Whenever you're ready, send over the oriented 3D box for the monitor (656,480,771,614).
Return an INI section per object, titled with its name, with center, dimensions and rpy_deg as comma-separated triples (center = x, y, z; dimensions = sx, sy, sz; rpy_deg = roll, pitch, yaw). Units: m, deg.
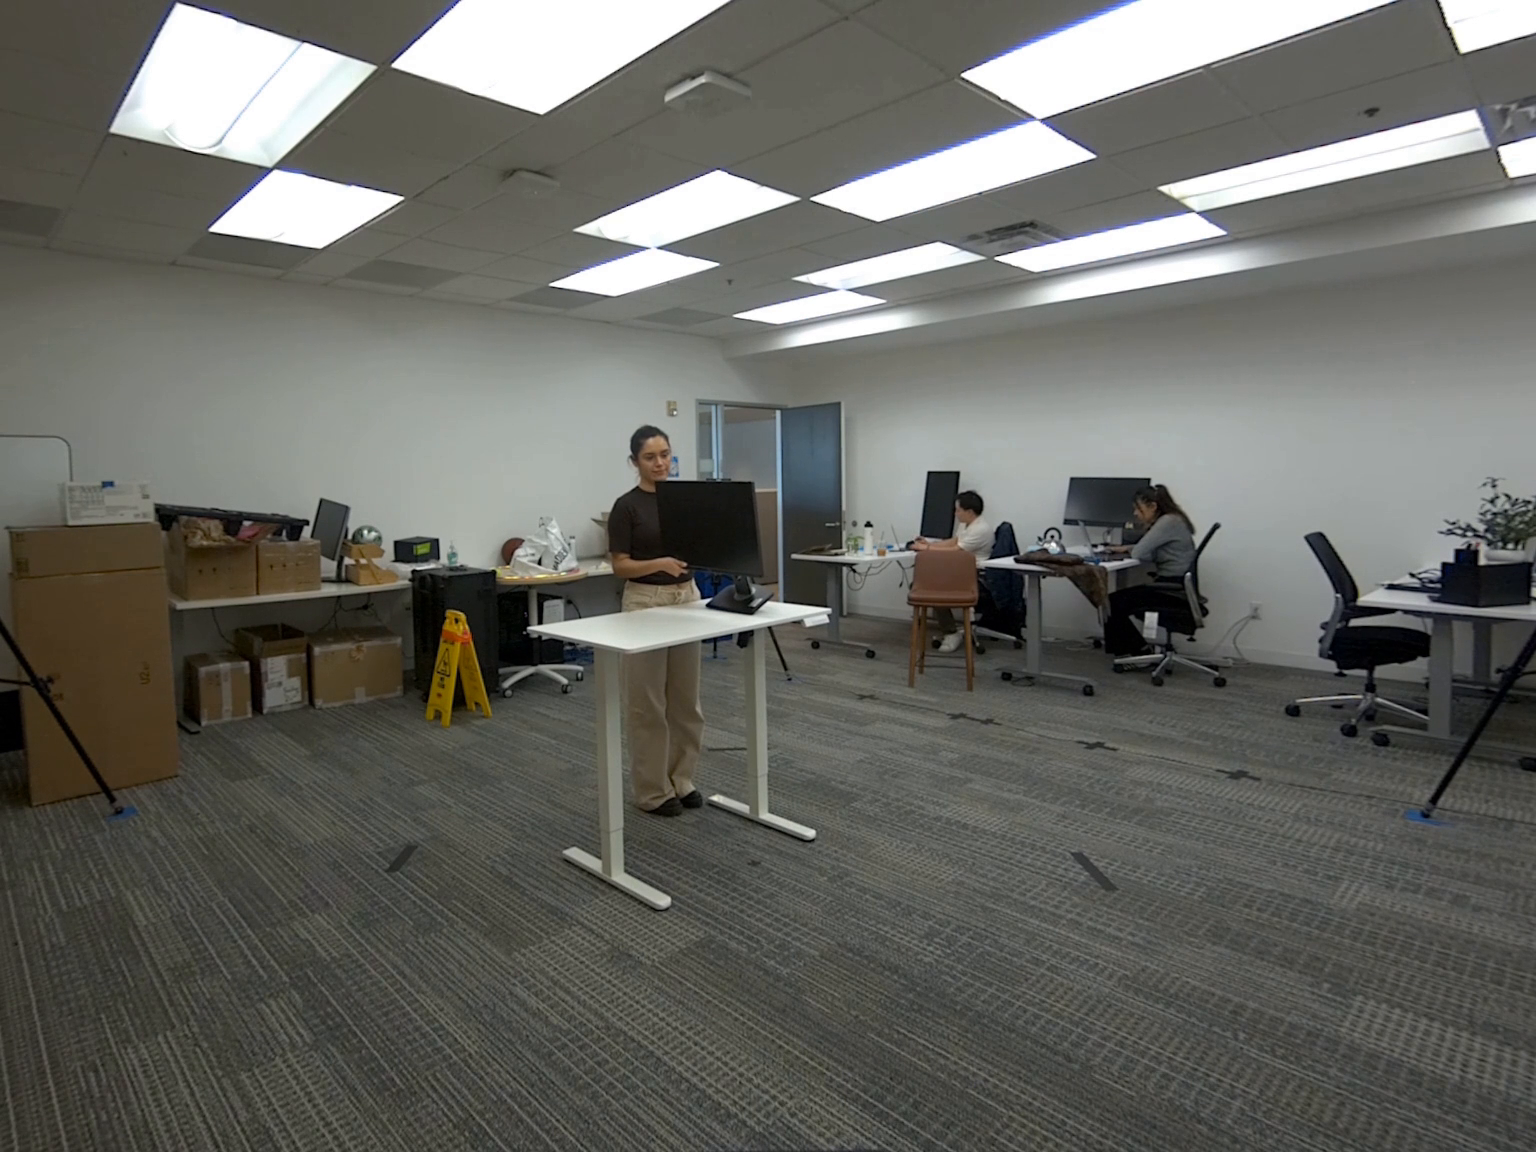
[monitor]
center = -0.183, -0.123, 3.278
dimensions = 0.556, 0.511, 0.185
rpy_deg = 4, 29, 44
